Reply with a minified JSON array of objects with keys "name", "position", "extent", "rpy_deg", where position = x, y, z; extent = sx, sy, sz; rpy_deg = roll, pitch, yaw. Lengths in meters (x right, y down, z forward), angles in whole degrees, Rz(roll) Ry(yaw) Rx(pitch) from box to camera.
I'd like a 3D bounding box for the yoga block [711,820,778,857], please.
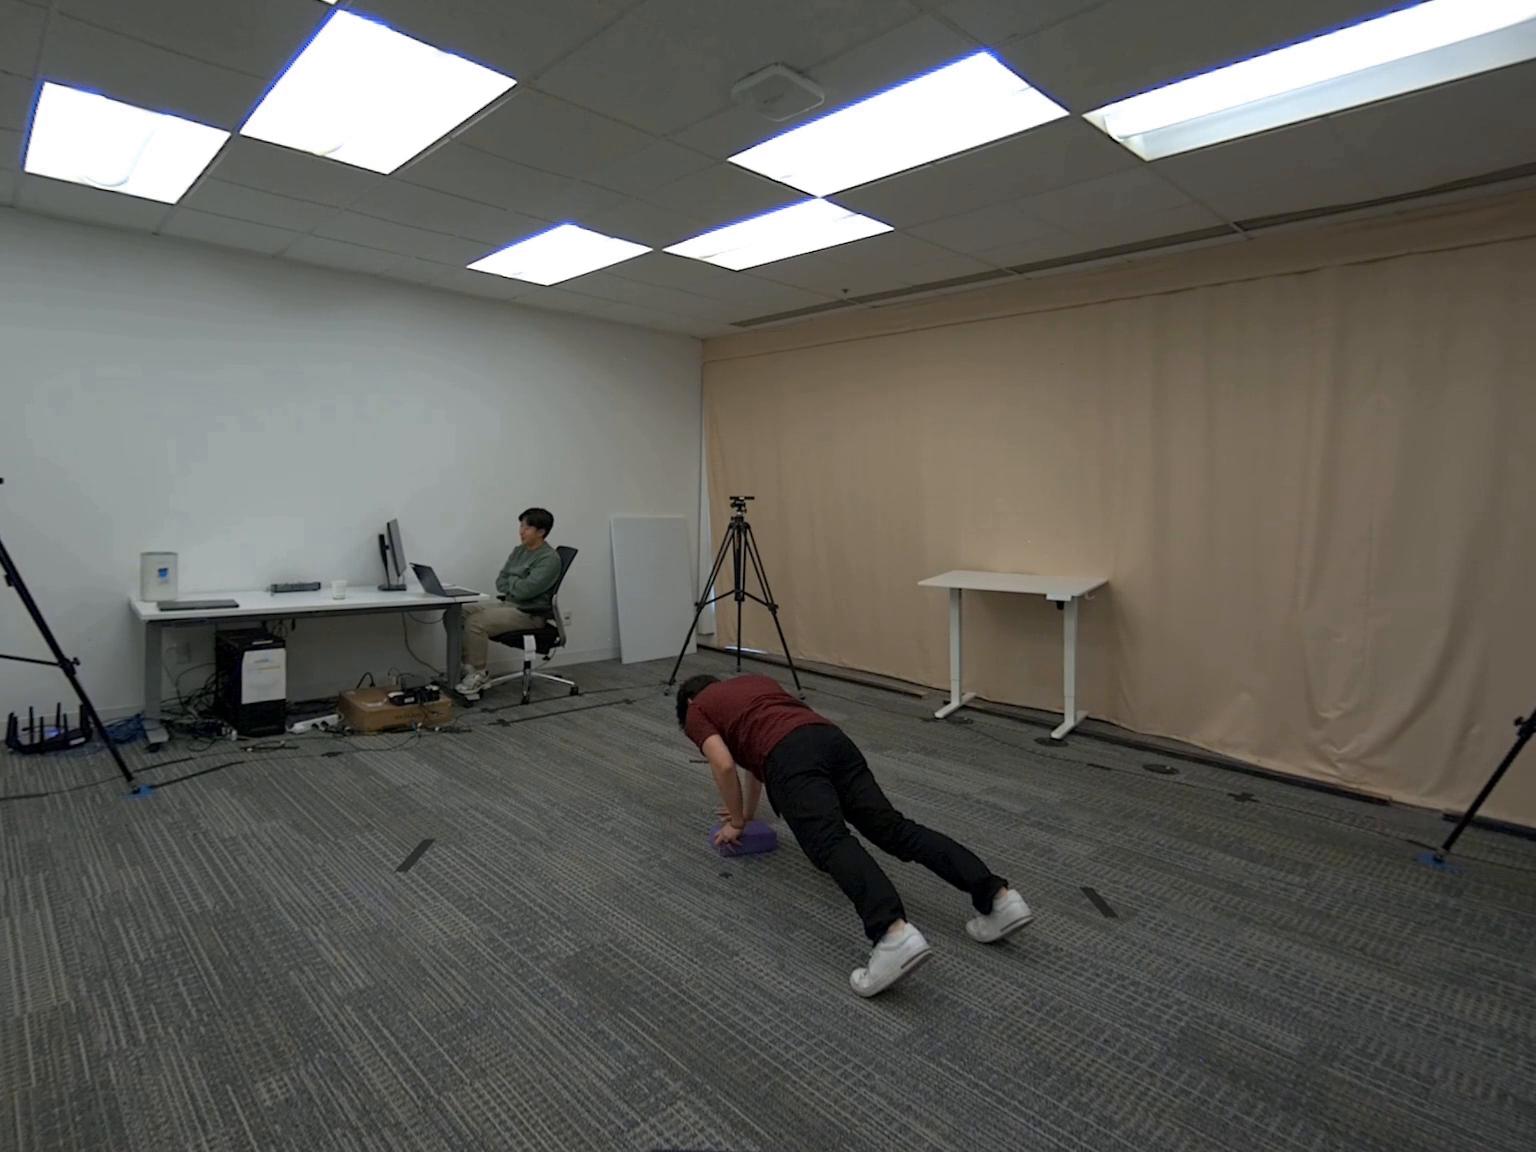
[{"name":"yoga block","position":[-0.101,1.041,3.357],"extent":[0.226,0.076,0.152],"rpy_deg":[-3,6,-21]}]
